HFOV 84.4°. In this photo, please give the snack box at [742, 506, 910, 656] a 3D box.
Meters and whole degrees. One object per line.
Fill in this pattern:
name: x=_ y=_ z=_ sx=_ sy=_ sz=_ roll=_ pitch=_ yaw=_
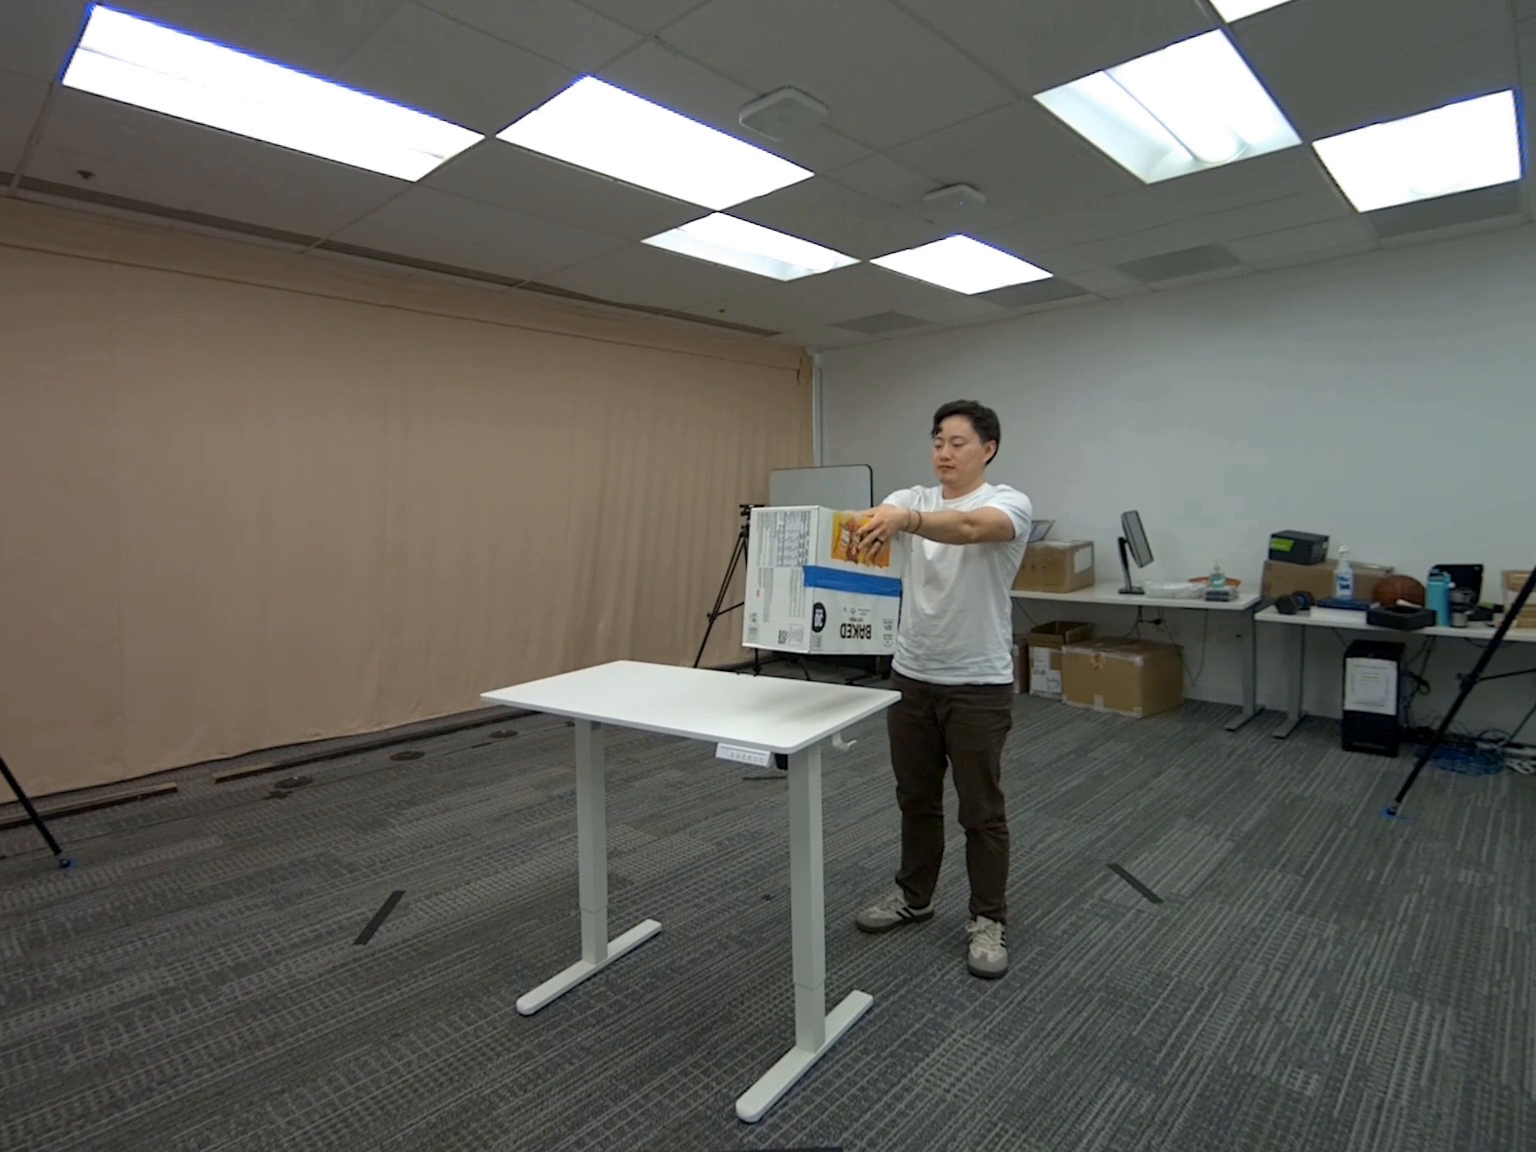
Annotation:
snack box: x=0.154 y=0.024 z=2.130 sx=0.212 sy=0.341 sz=0.391 roll=0 pitch=-5 yaw=39
